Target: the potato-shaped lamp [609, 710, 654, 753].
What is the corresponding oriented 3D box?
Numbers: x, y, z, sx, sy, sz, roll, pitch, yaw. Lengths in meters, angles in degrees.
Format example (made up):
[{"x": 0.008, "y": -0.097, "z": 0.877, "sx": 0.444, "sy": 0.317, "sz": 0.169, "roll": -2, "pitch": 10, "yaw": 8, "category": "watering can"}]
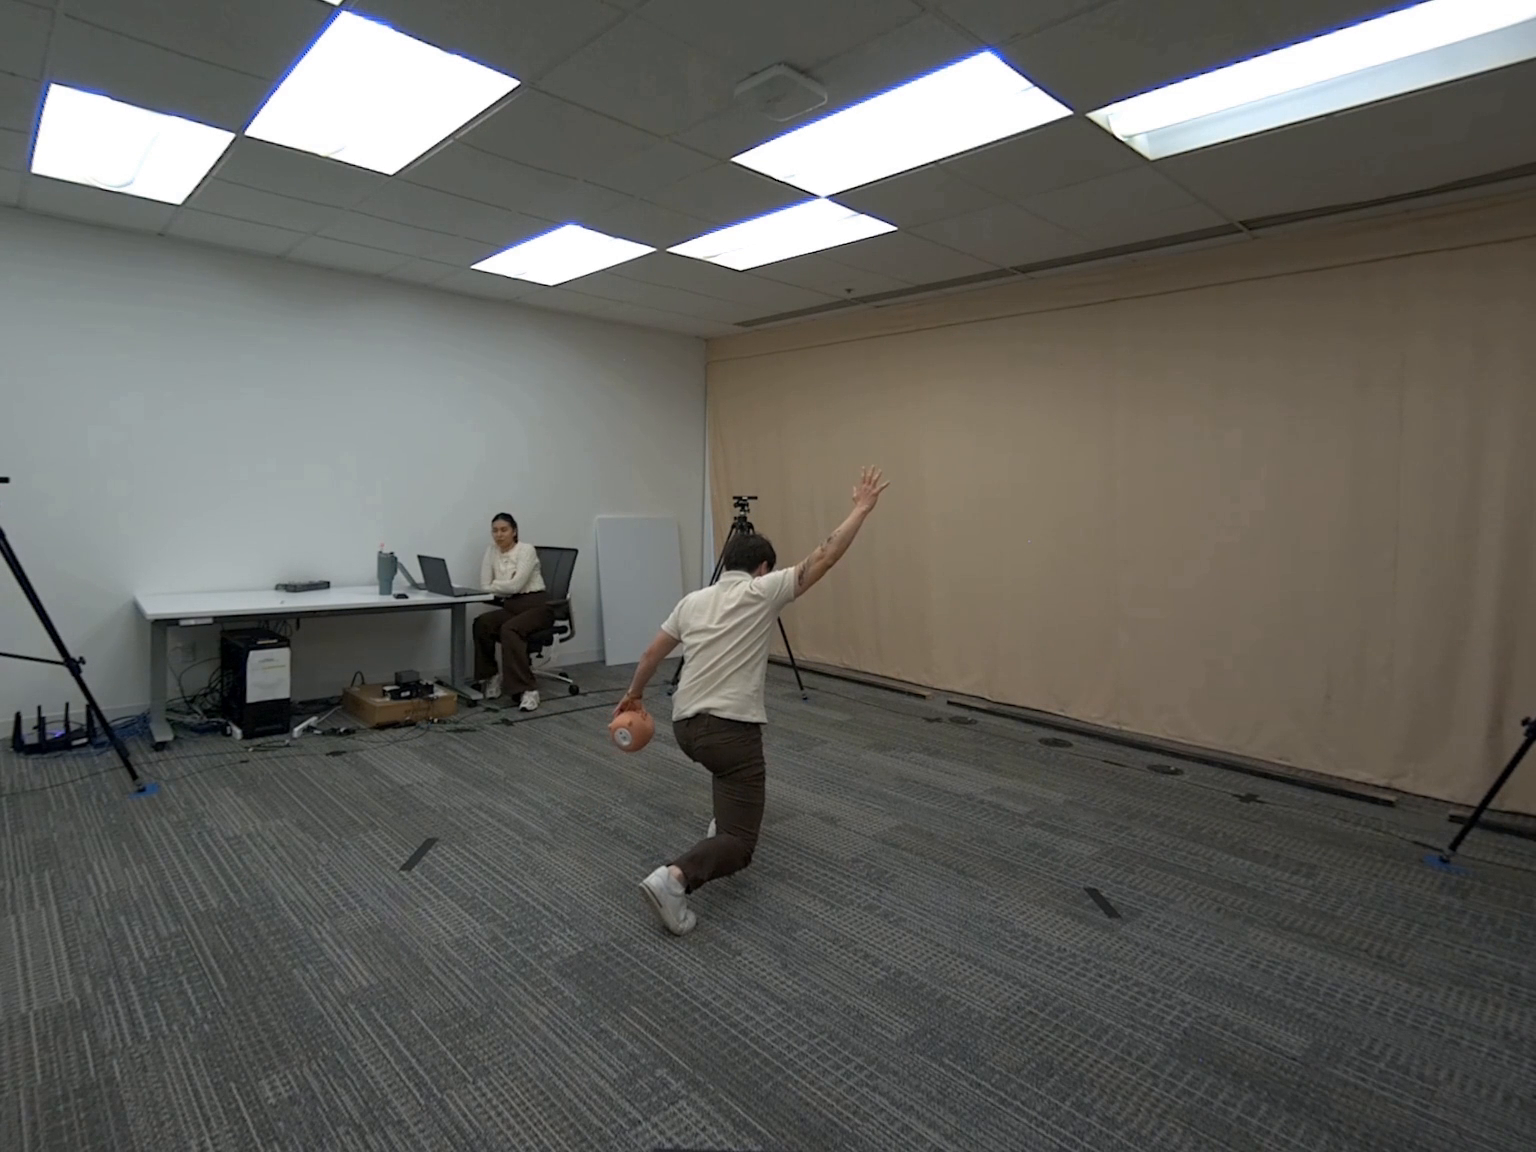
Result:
[{"x": -0.579, "y": 0.652, "z": 3.578, "sx": 0.167, "sy": 0.170, "sz": 0.197, "roll": -15, "pitch": 9, "yaw": 22, "category": "potato-shaped lamp"}]
